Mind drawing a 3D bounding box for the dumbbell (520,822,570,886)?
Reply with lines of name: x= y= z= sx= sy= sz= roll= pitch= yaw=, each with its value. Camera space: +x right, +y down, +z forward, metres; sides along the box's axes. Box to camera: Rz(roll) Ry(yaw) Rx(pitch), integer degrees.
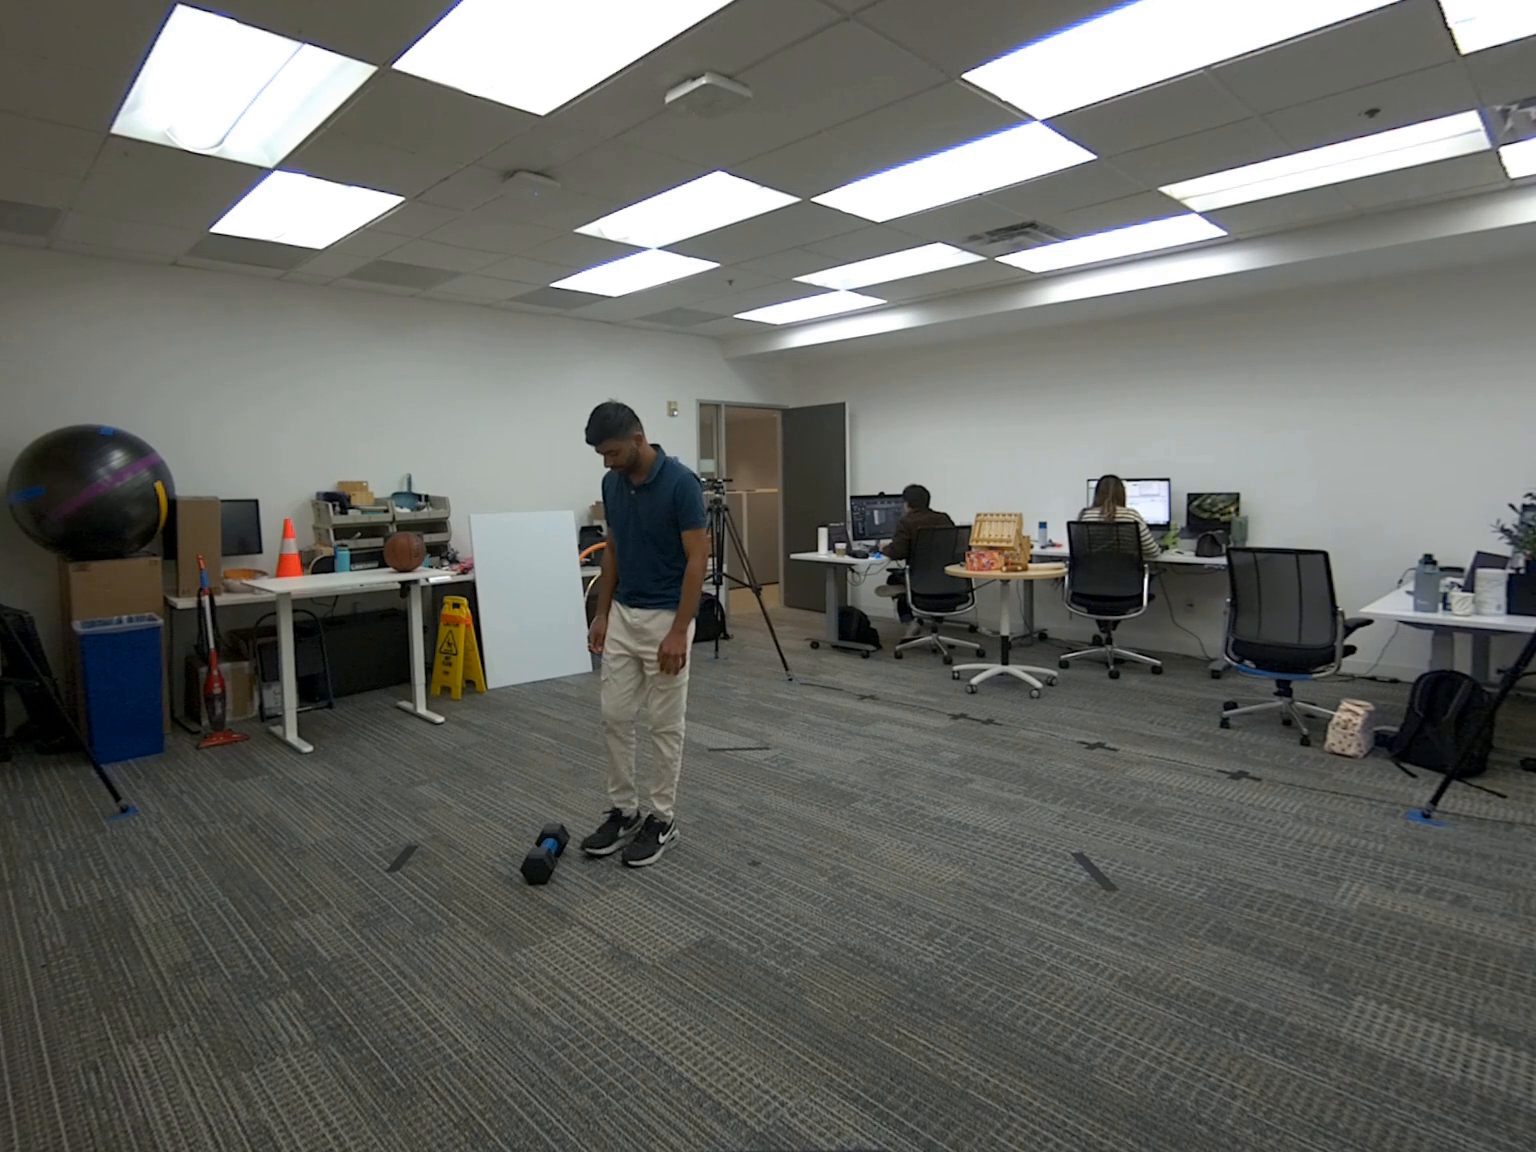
dumbbell: x=-0.805 y=1.007 z=3.104 sx=0.109 sy=0.122 sz=0.295 roll=-31 pitch=6 yaw=2
